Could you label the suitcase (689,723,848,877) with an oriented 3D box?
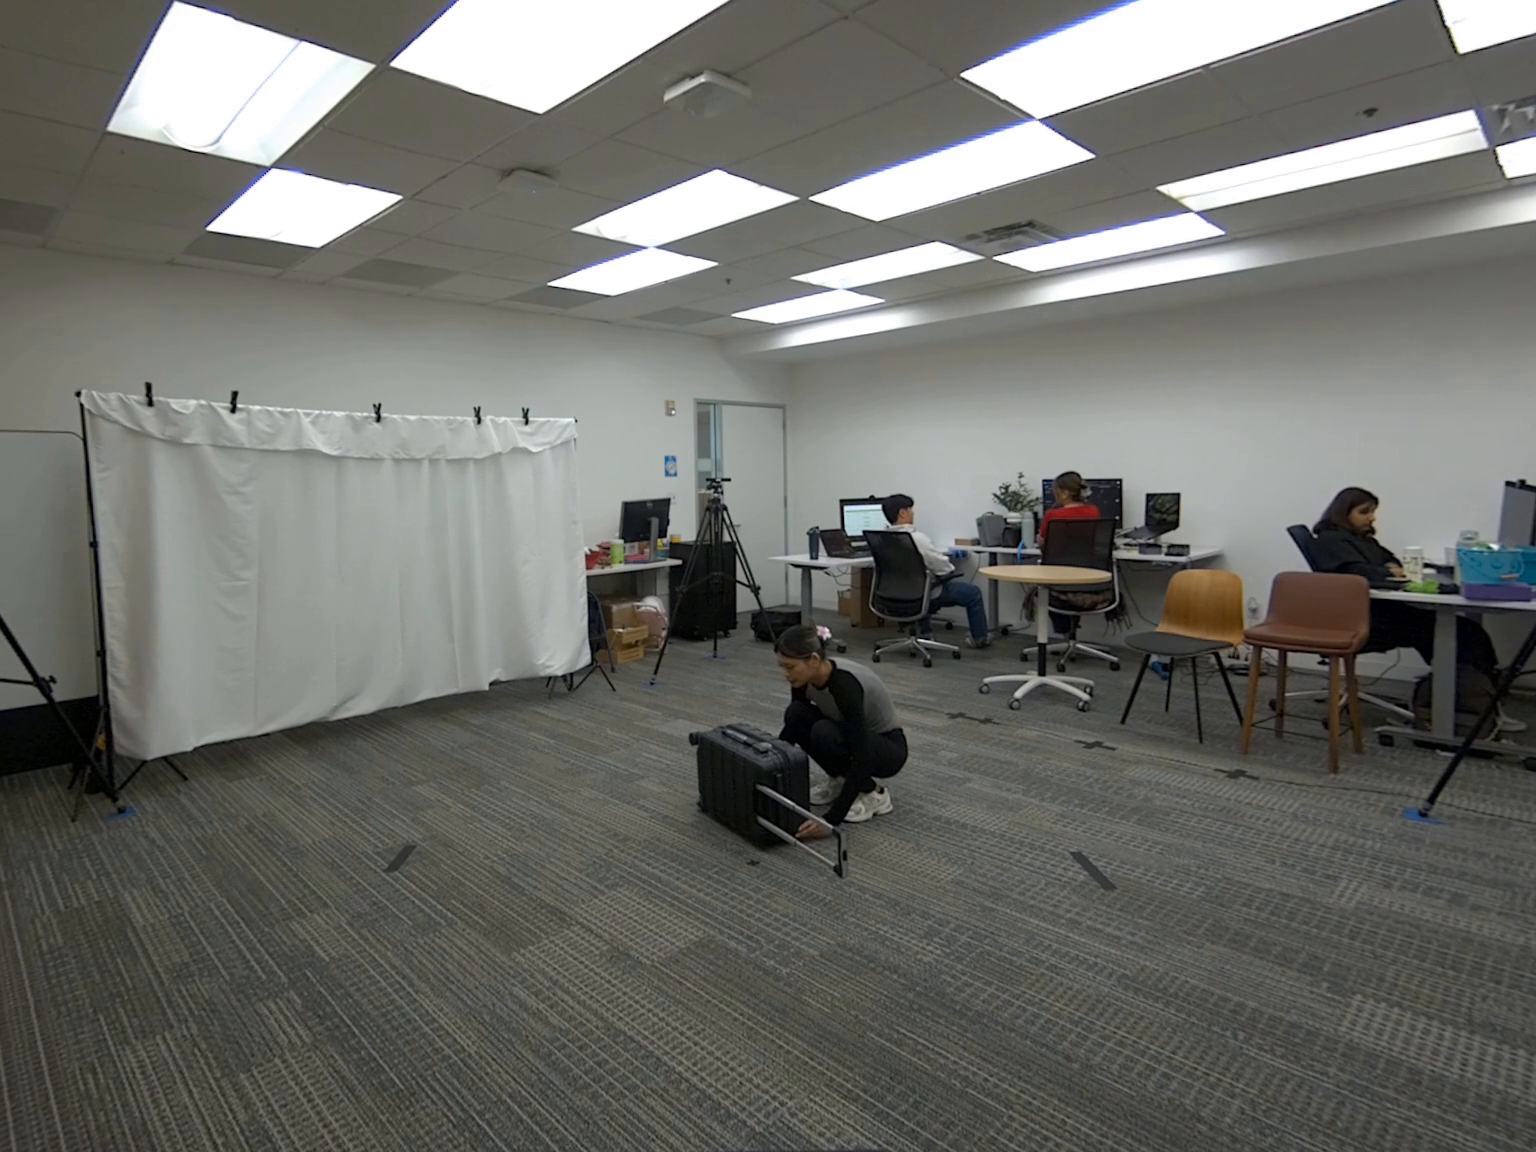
[{"bbox_3d":[0.051,0.837,3.248,0.251,0.382,1.007,-7,8,-34],"label":"suitcase"}]
